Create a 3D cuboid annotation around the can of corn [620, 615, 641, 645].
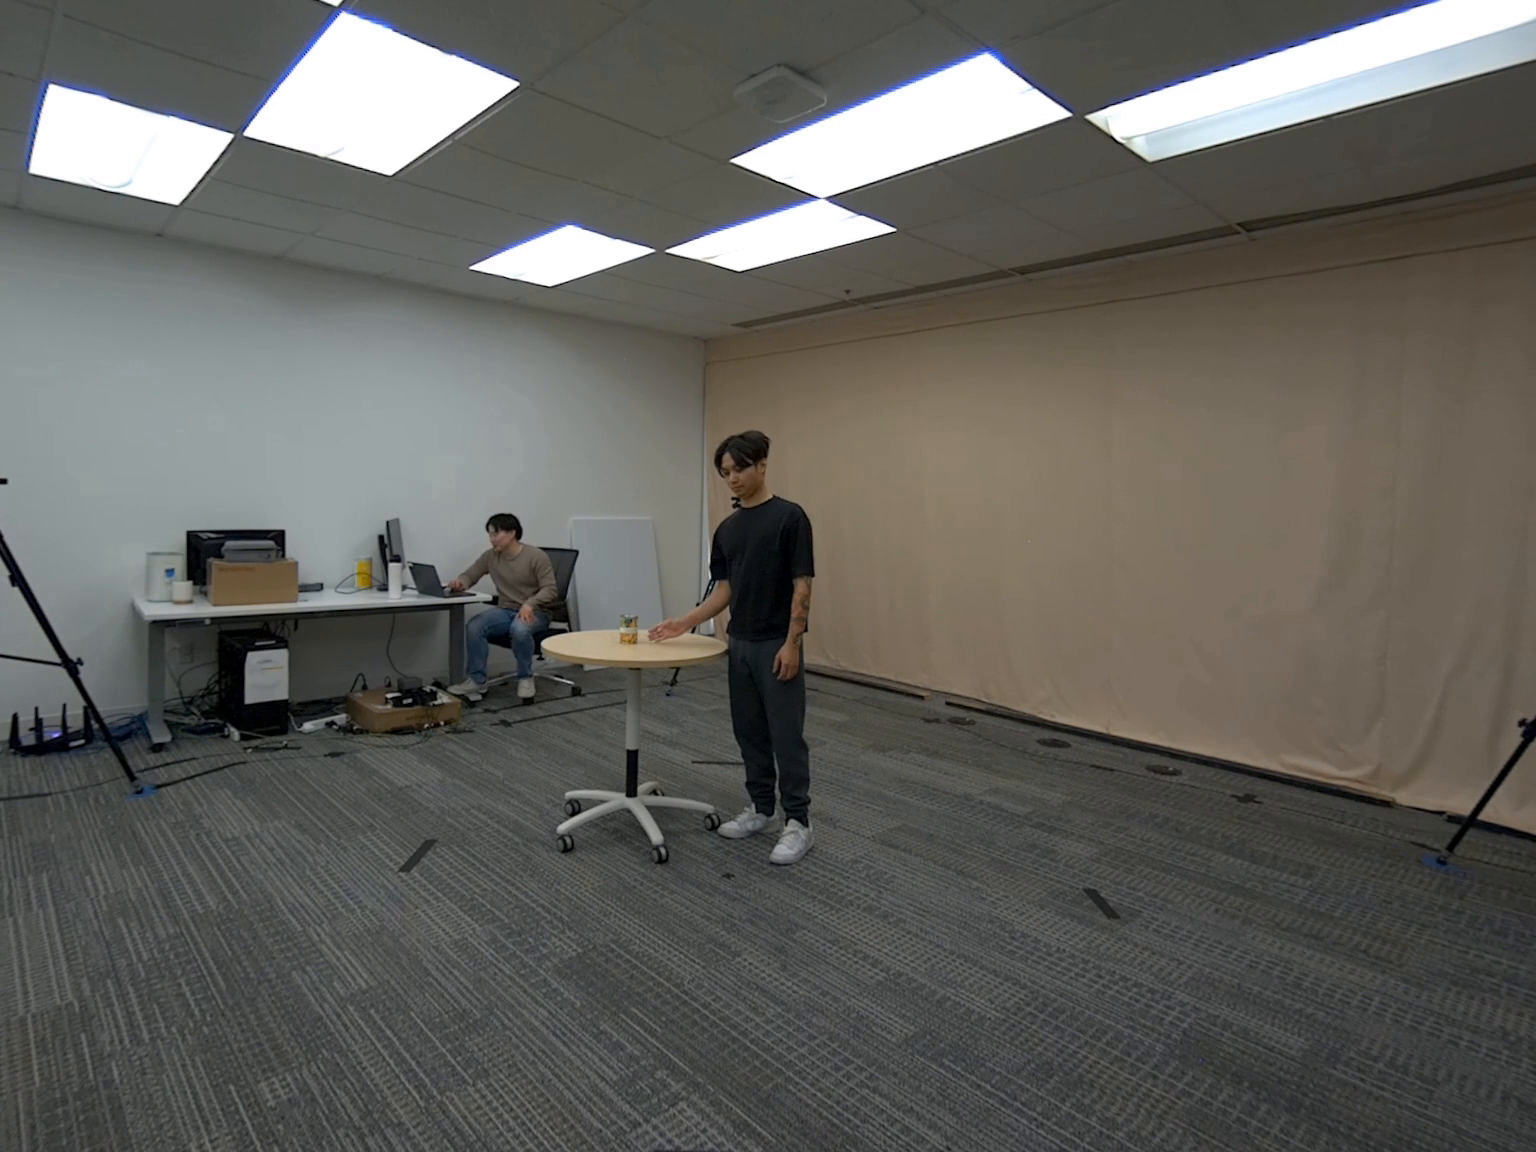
[{"bbox_3d":[-0.570,0.221,3.491,0.074,0.111,0.074,0,2,-1],"label":"can of corn"}]
